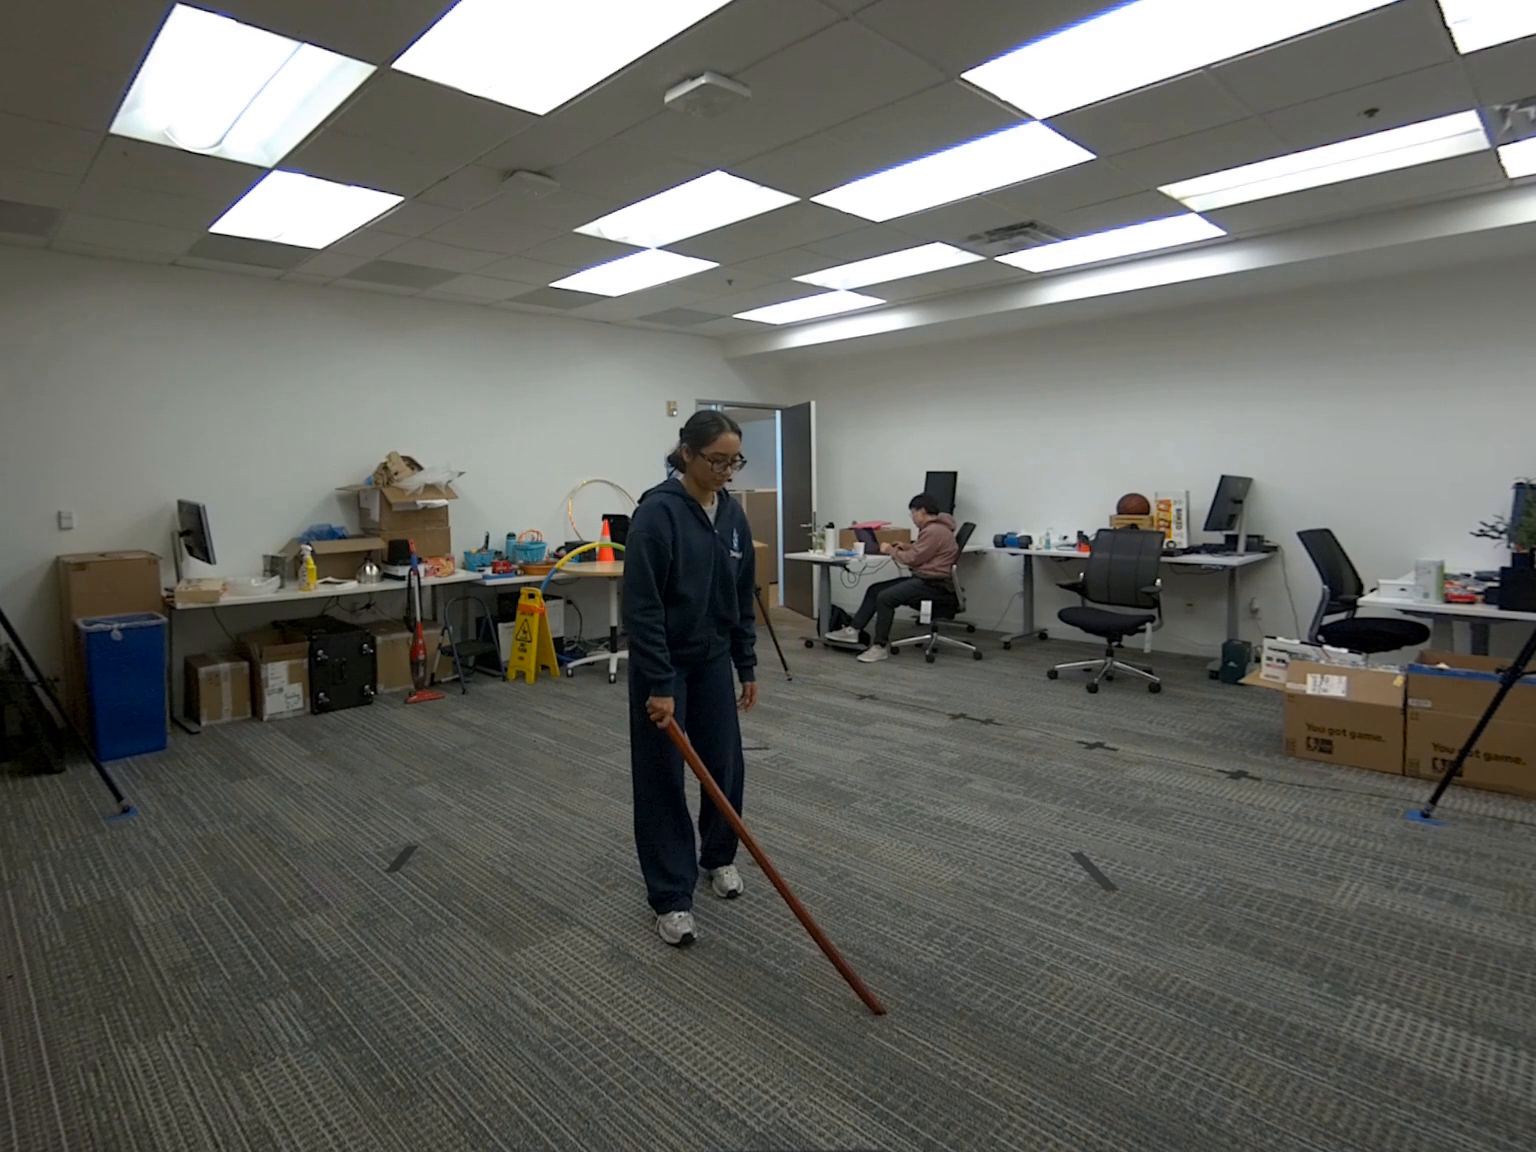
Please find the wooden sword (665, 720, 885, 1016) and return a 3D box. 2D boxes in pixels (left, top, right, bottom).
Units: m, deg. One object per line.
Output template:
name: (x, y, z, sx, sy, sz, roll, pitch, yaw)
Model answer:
wooden sword: (-0.027, 0.751, 2.368, 0.051, 1.046, 0.023, -38, -16, -10)
